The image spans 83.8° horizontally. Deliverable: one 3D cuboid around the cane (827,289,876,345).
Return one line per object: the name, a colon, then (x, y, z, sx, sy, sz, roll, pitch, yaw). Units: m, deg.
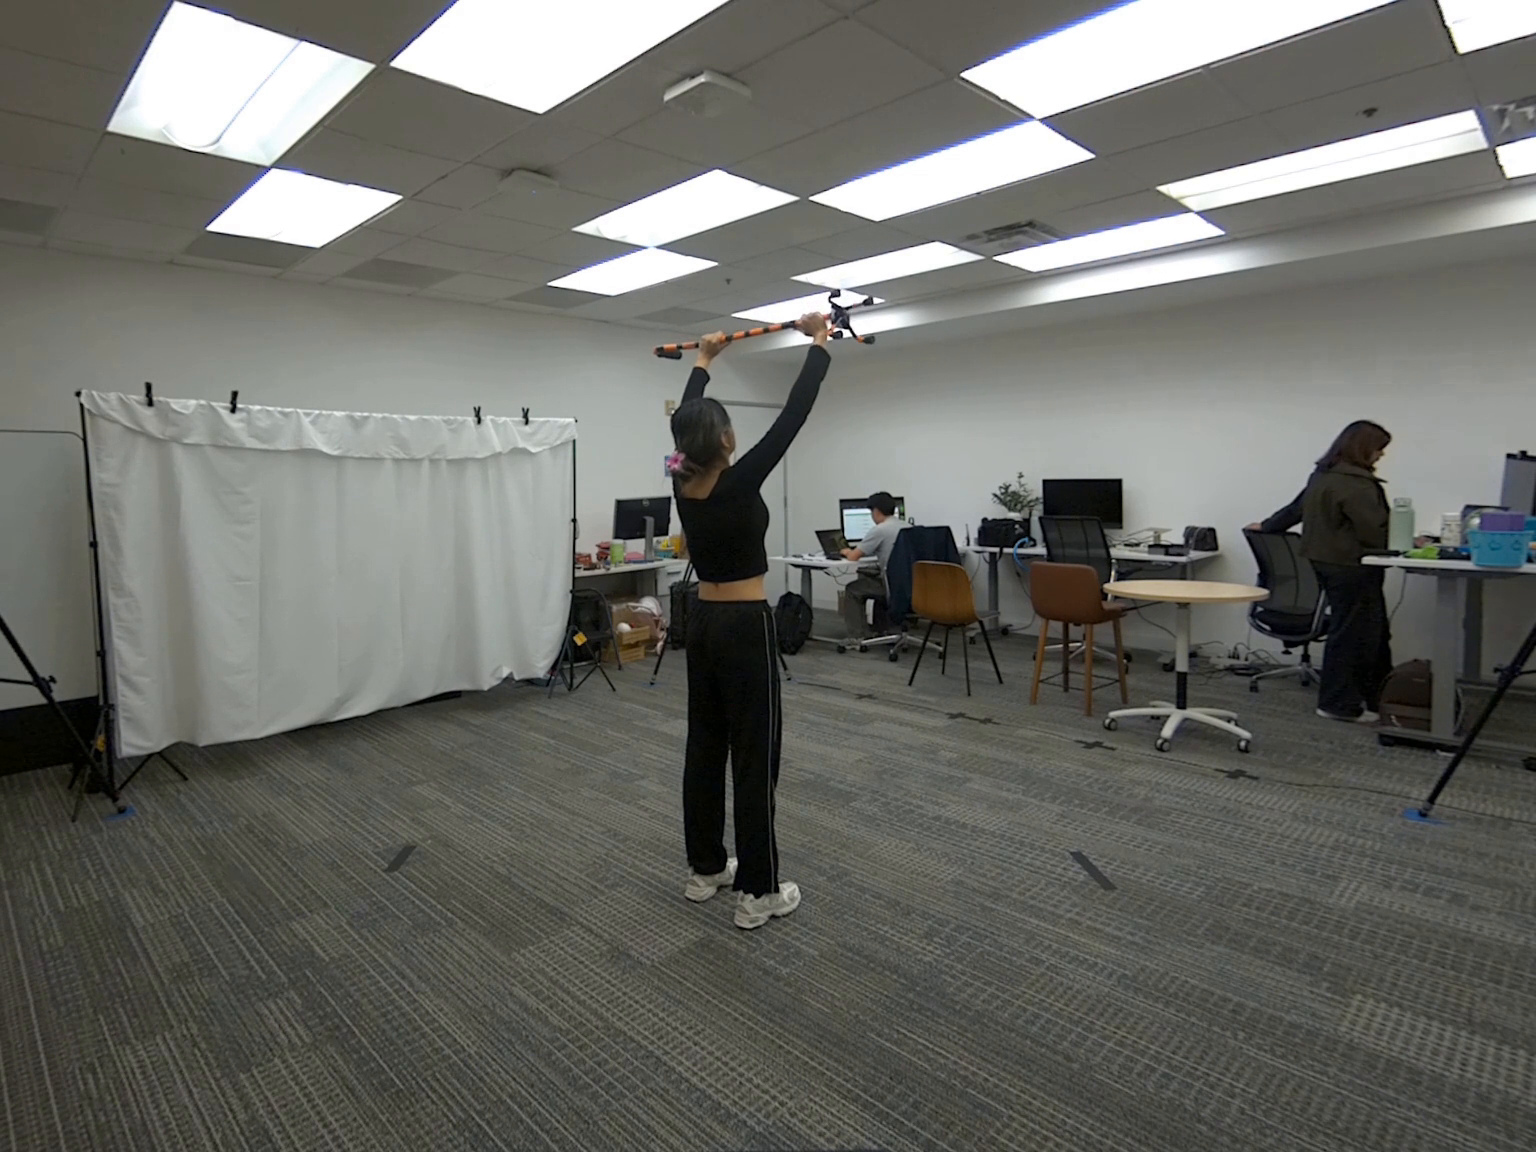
cane: (-0.076, -0.826, 2.967, 0.936, 0.151, 0.201, 4, 6, 43)
